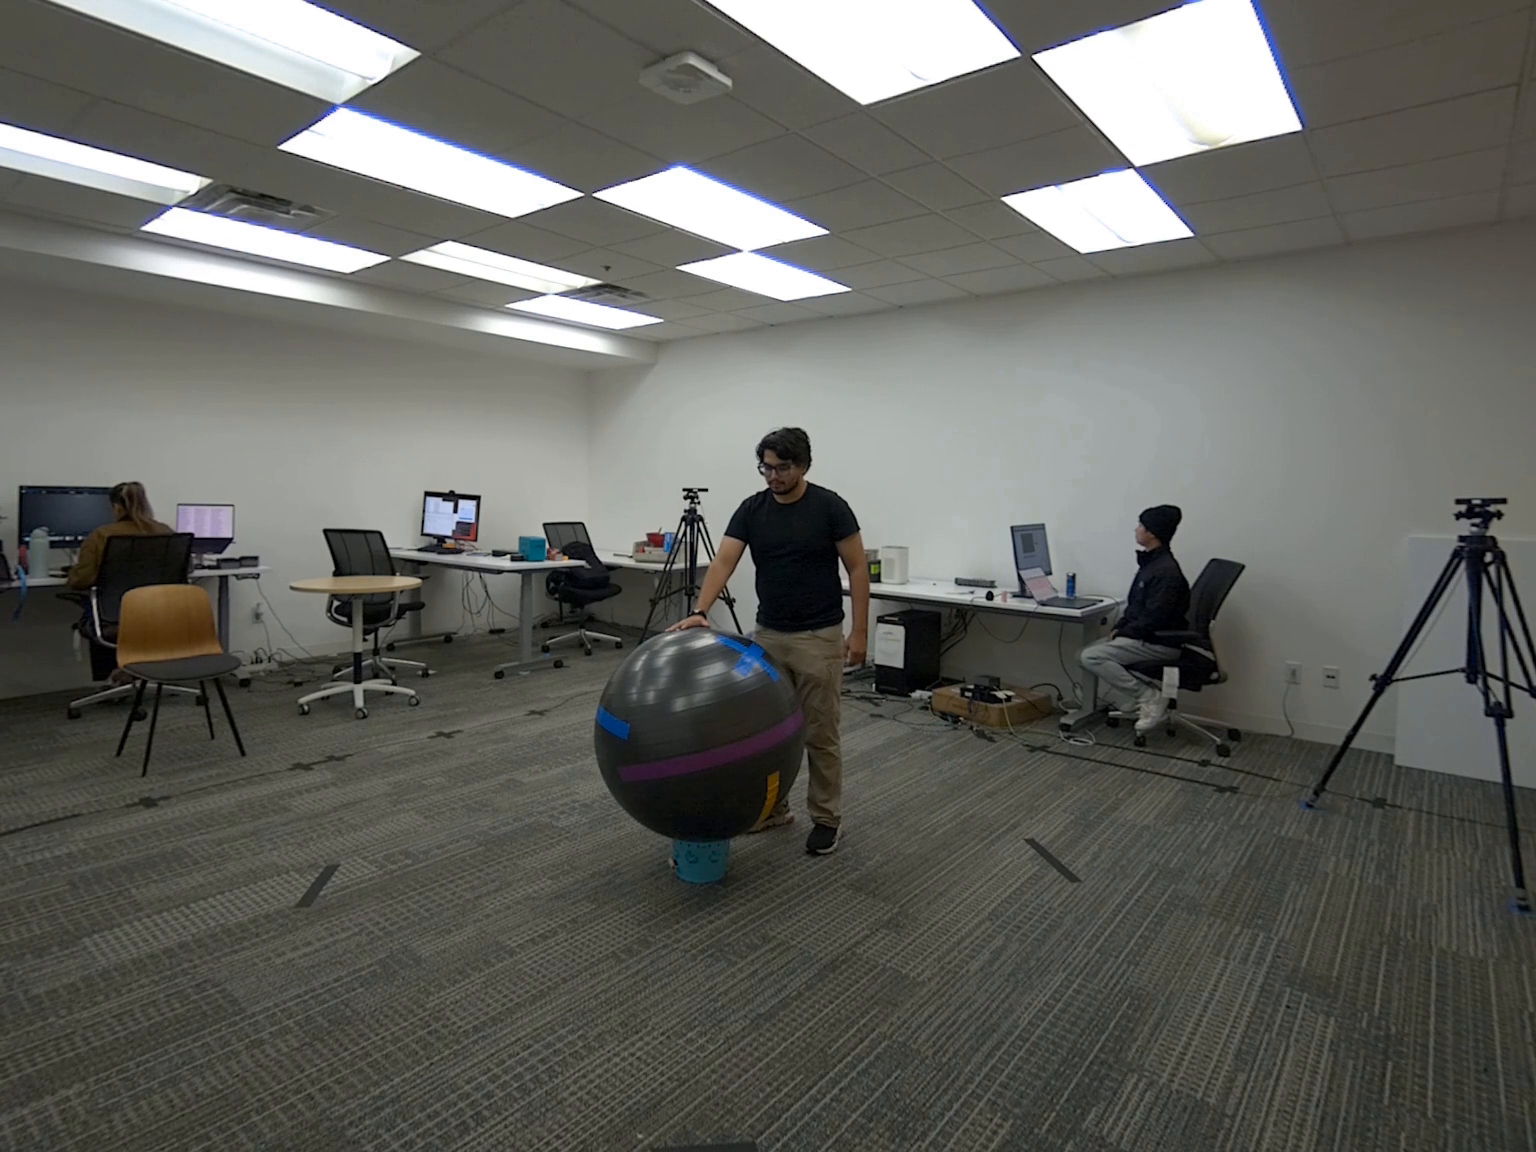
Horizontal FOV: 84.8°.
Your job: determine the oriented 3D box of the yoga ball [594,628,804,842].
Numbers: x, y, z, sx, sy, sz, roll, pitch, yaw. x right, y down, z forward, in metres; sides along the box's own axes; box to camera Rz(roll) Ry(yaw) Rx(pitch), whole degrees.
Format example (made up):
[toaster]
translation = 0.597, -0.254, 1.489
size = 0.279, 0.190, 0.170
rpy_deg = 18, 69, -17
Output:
[yoga ball]
translation = -0.258, 0.563, 3.074
size = 0.757, 0.756, 0.762
rpy_deg = 1, 4, -2
